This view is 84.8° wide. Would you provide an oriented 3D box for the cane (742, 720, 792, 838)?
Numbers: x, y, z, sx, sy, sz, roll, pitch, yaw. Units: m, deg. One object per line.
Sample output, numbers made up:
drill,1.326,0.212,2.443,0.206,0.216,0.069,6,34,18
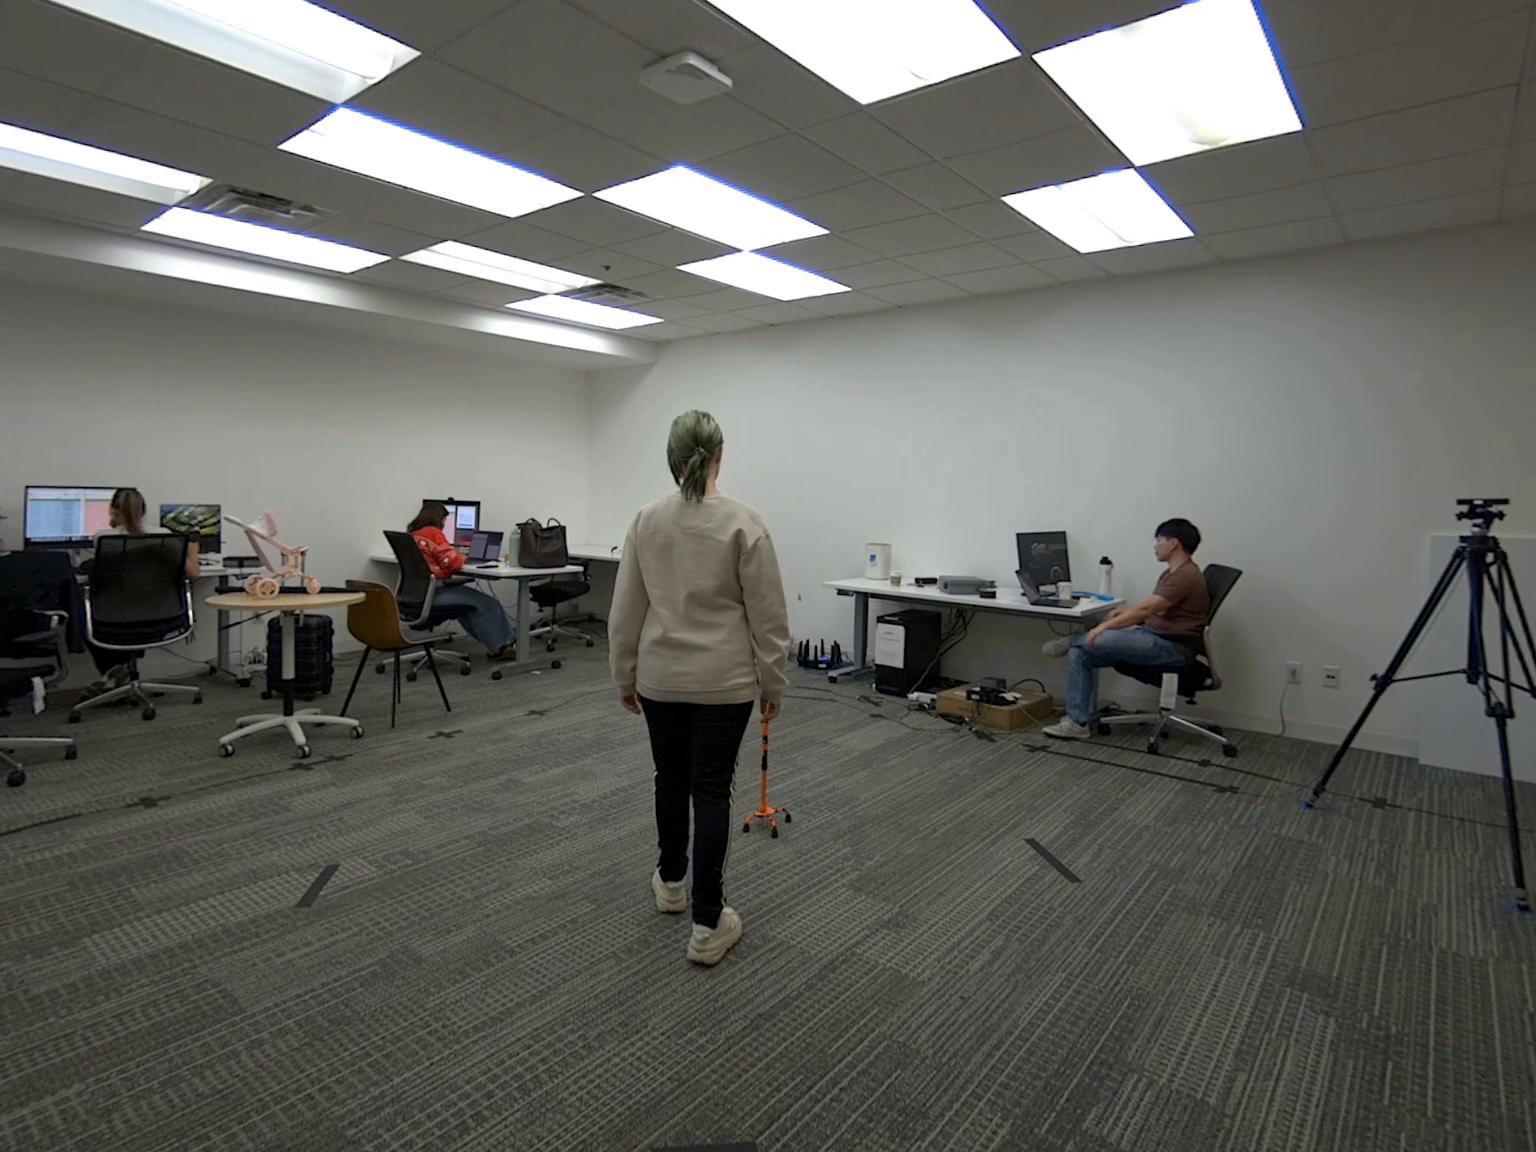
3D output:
cane,0.000,0.579,3.505,0.155,0.906,0.202,2,2,20
